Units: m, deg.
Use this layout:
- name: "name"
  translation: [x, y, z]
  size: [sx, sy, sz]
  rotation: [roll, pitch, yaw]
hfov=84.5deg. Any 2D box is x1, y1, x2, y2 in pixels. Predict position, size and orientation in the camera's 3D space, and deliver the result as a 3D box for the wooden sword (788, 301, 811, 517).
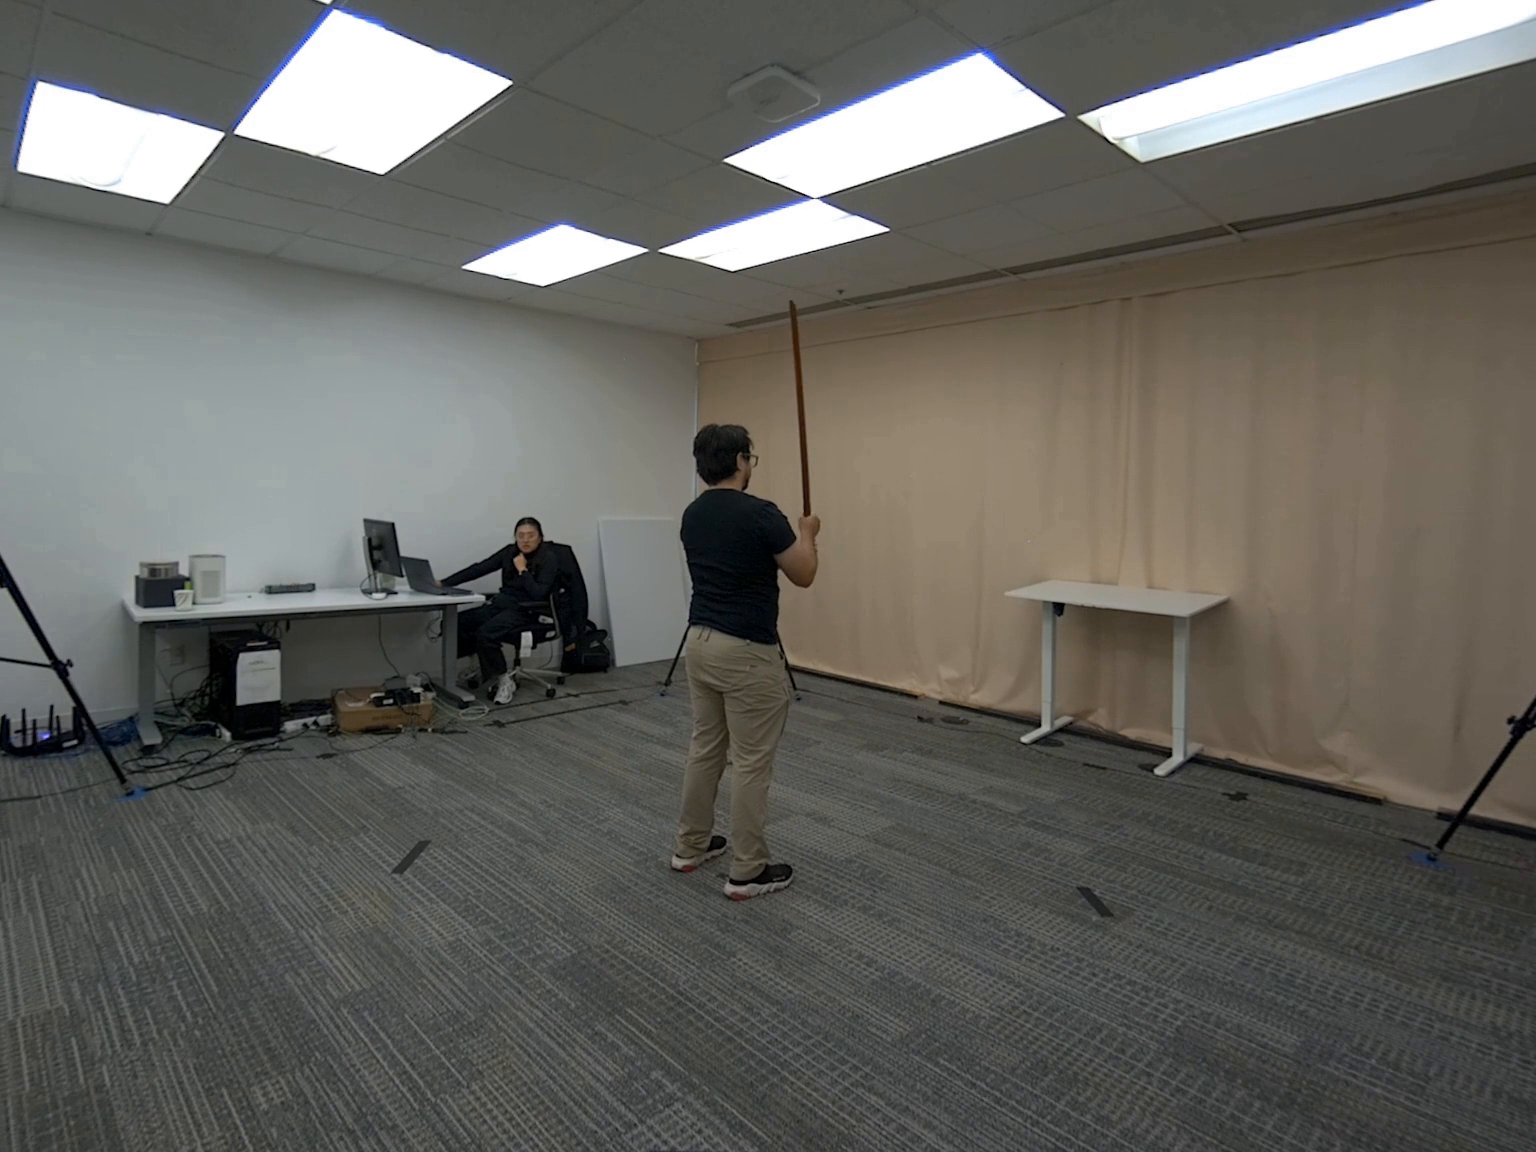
- name: "wooden sword"
  translation: [0.134, -0.478, 3.121]
  size: [0.024, 1.007, 0.051]
  rotation: [9, 27, 29]
